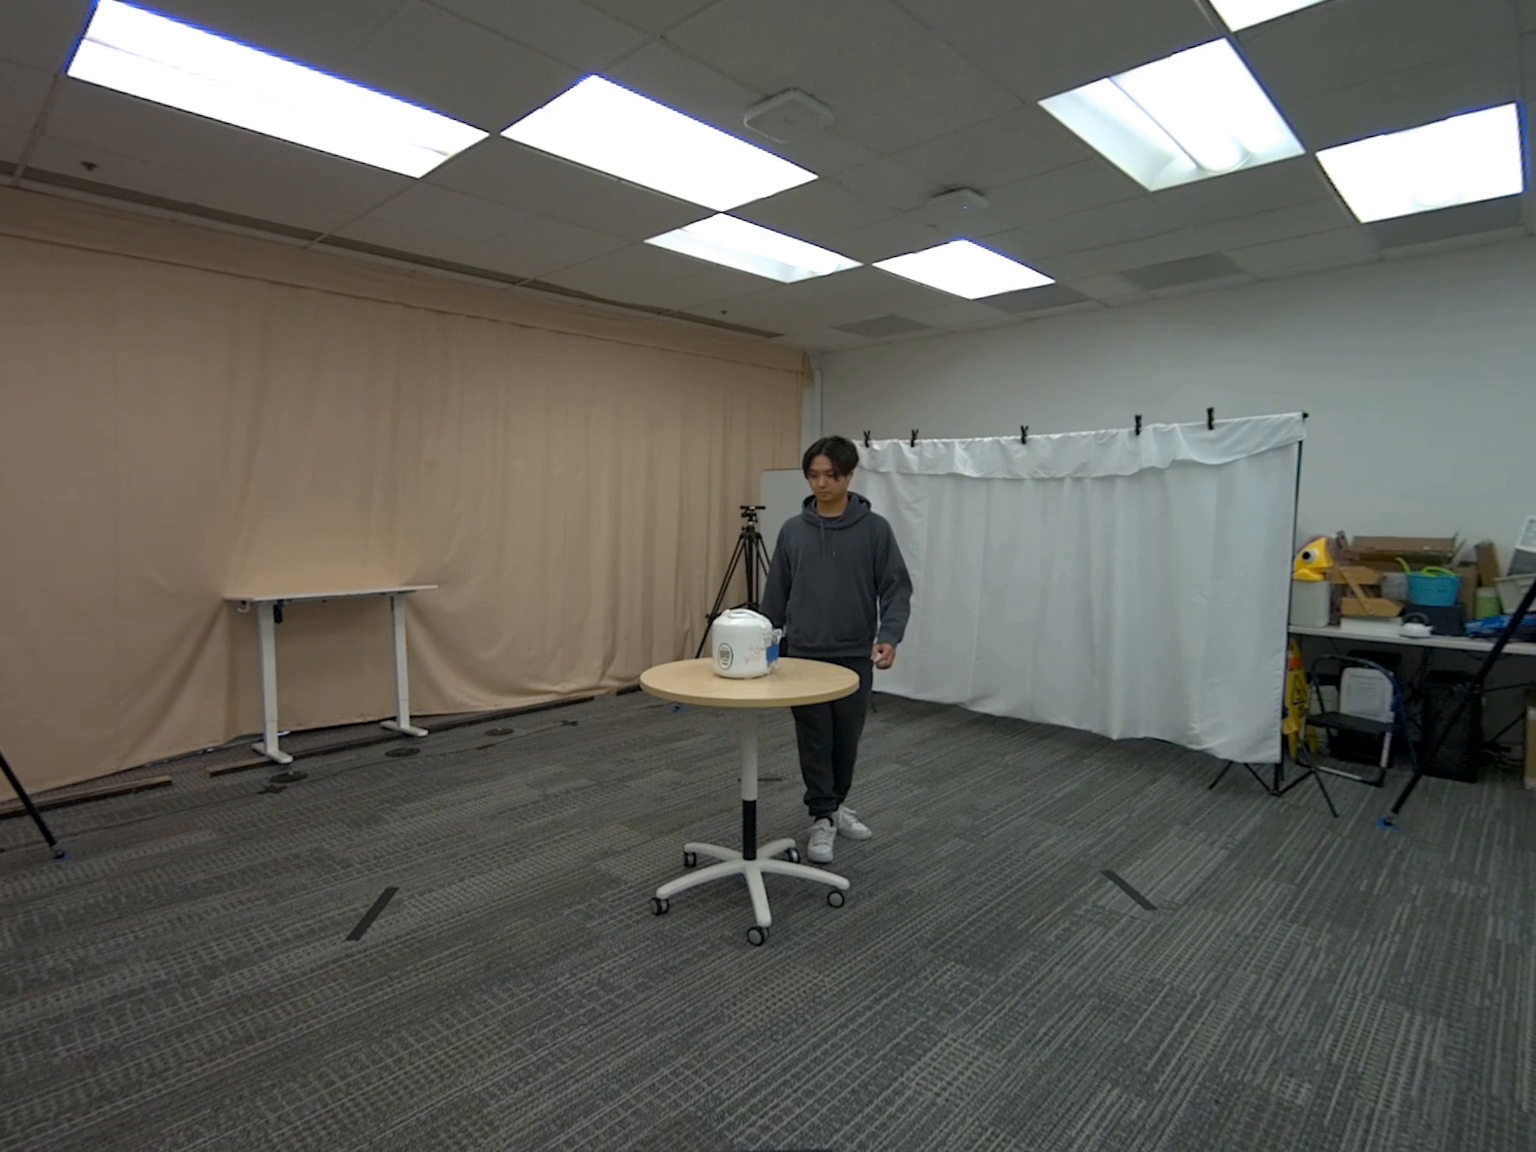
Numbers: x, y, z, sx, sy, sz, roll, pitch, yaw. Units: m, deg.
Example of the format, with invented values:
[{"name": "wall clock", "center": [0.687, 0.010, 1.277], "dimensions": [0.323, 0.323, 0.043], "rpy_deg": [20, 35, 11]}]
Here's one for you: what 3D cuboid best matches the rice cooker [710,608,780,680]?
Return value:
[{"name": "rice cooker", "center": [-0.089, 0.230, 2.964], "dimensions": [0.227, 0.233, 0.211], "rpy_deg": [1, 1, 32]}]
